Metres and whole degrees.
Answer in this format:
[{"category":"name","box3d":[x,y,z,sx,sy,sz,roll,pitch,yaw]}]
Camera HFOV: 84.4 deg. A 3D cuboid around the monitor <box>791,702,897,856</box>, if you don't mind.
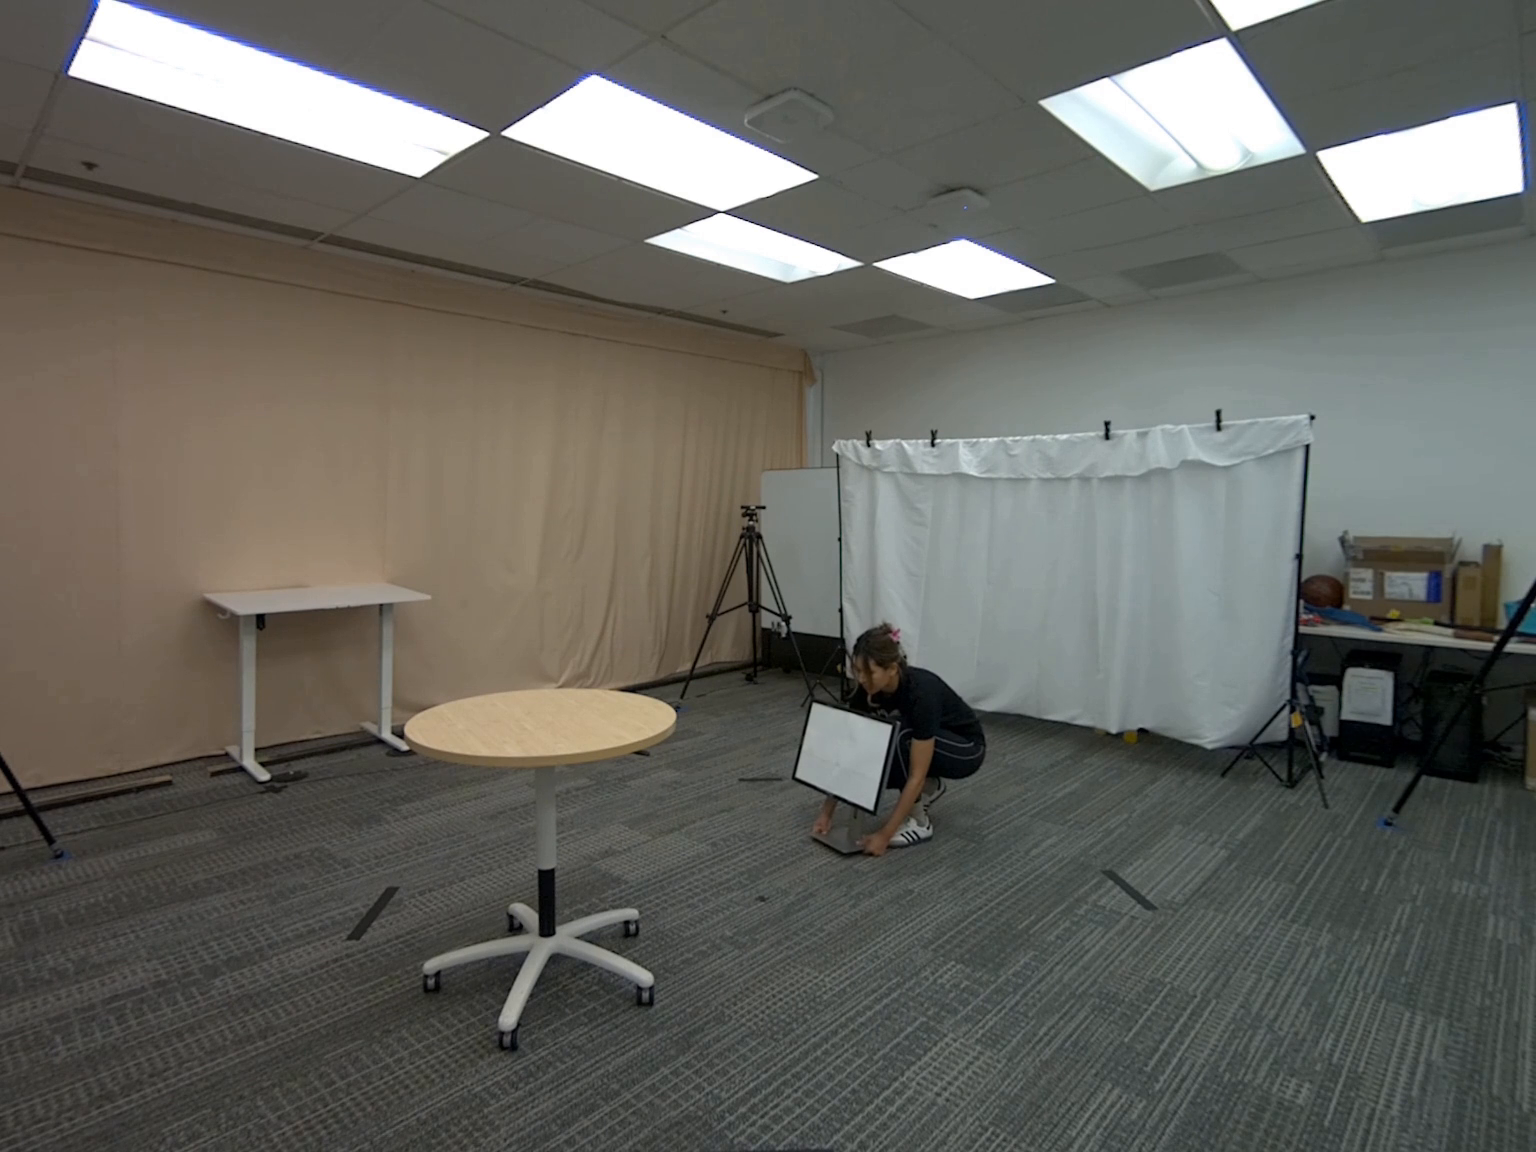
[{"category":"monitor","box3d":[0.333,0.819,3.453,0.181,0.523,0.555,4,0,-33]}]
